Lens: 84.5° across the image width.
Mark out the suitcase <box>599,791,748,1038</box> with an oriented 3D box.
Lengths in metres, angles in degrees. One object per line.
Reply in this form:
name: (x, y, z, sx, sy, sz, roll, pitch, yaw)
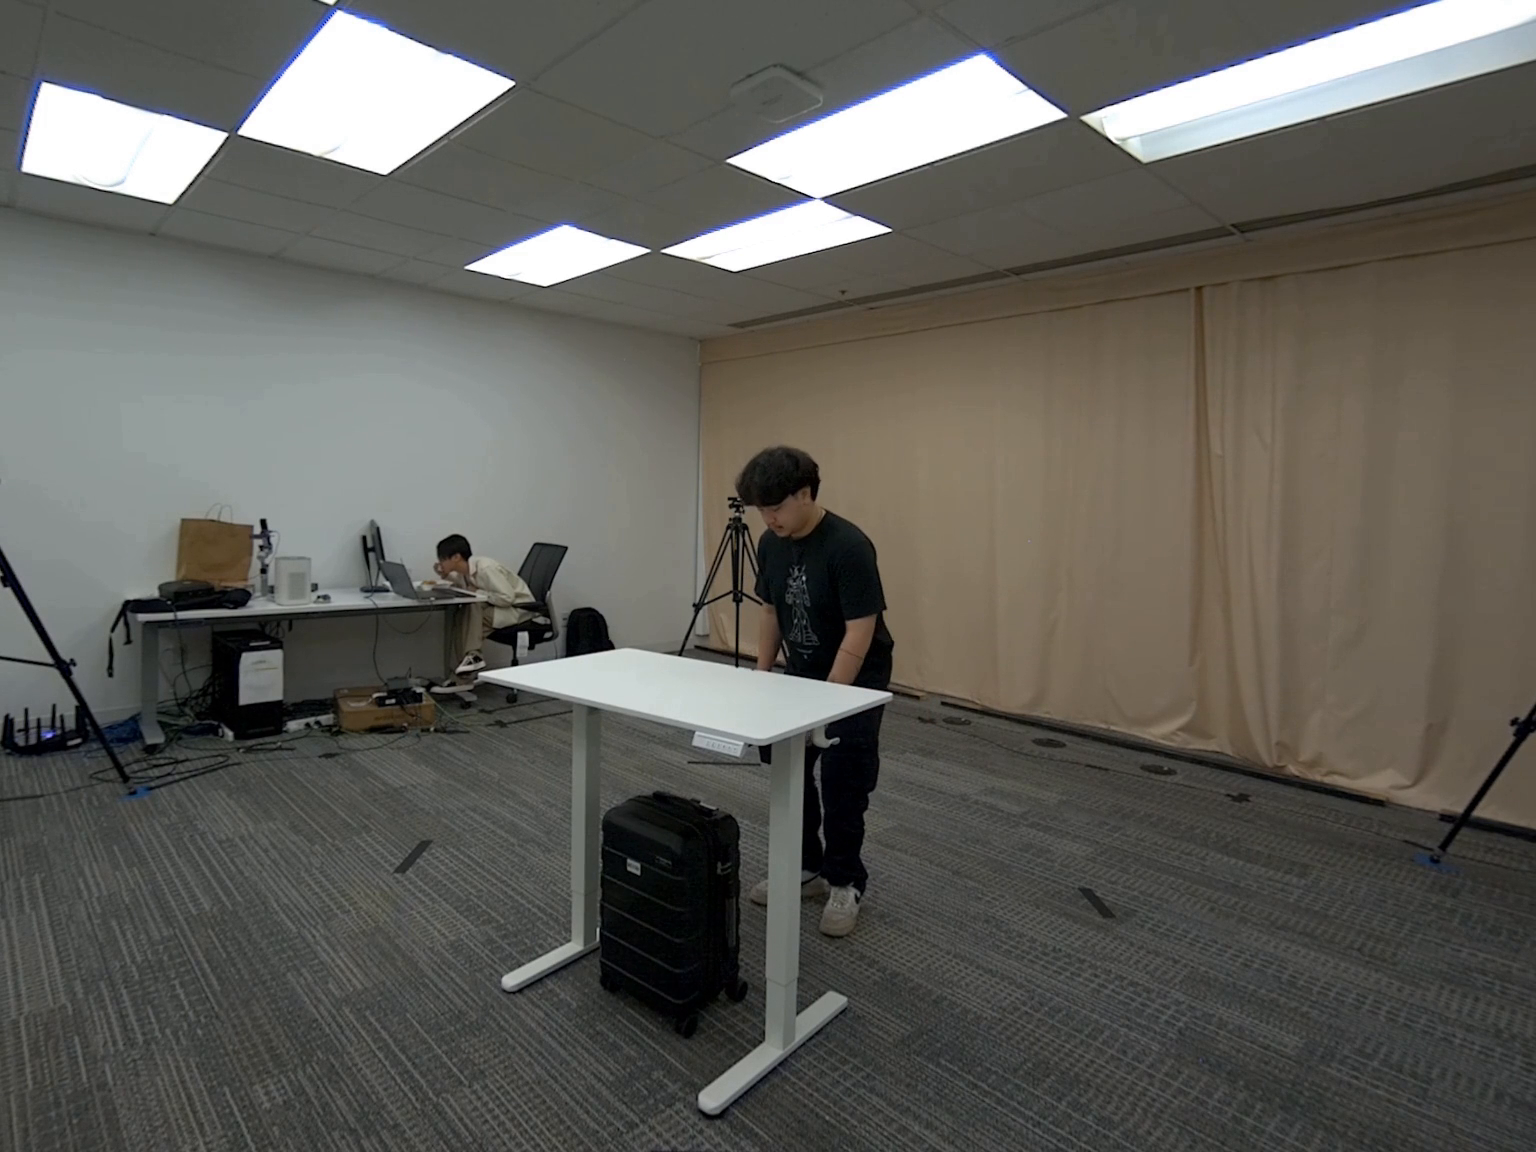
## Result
suitcase: (-0.274, 0.904, 2.321, 0.385, 0.547, 0.243, 6, 7, 40)
